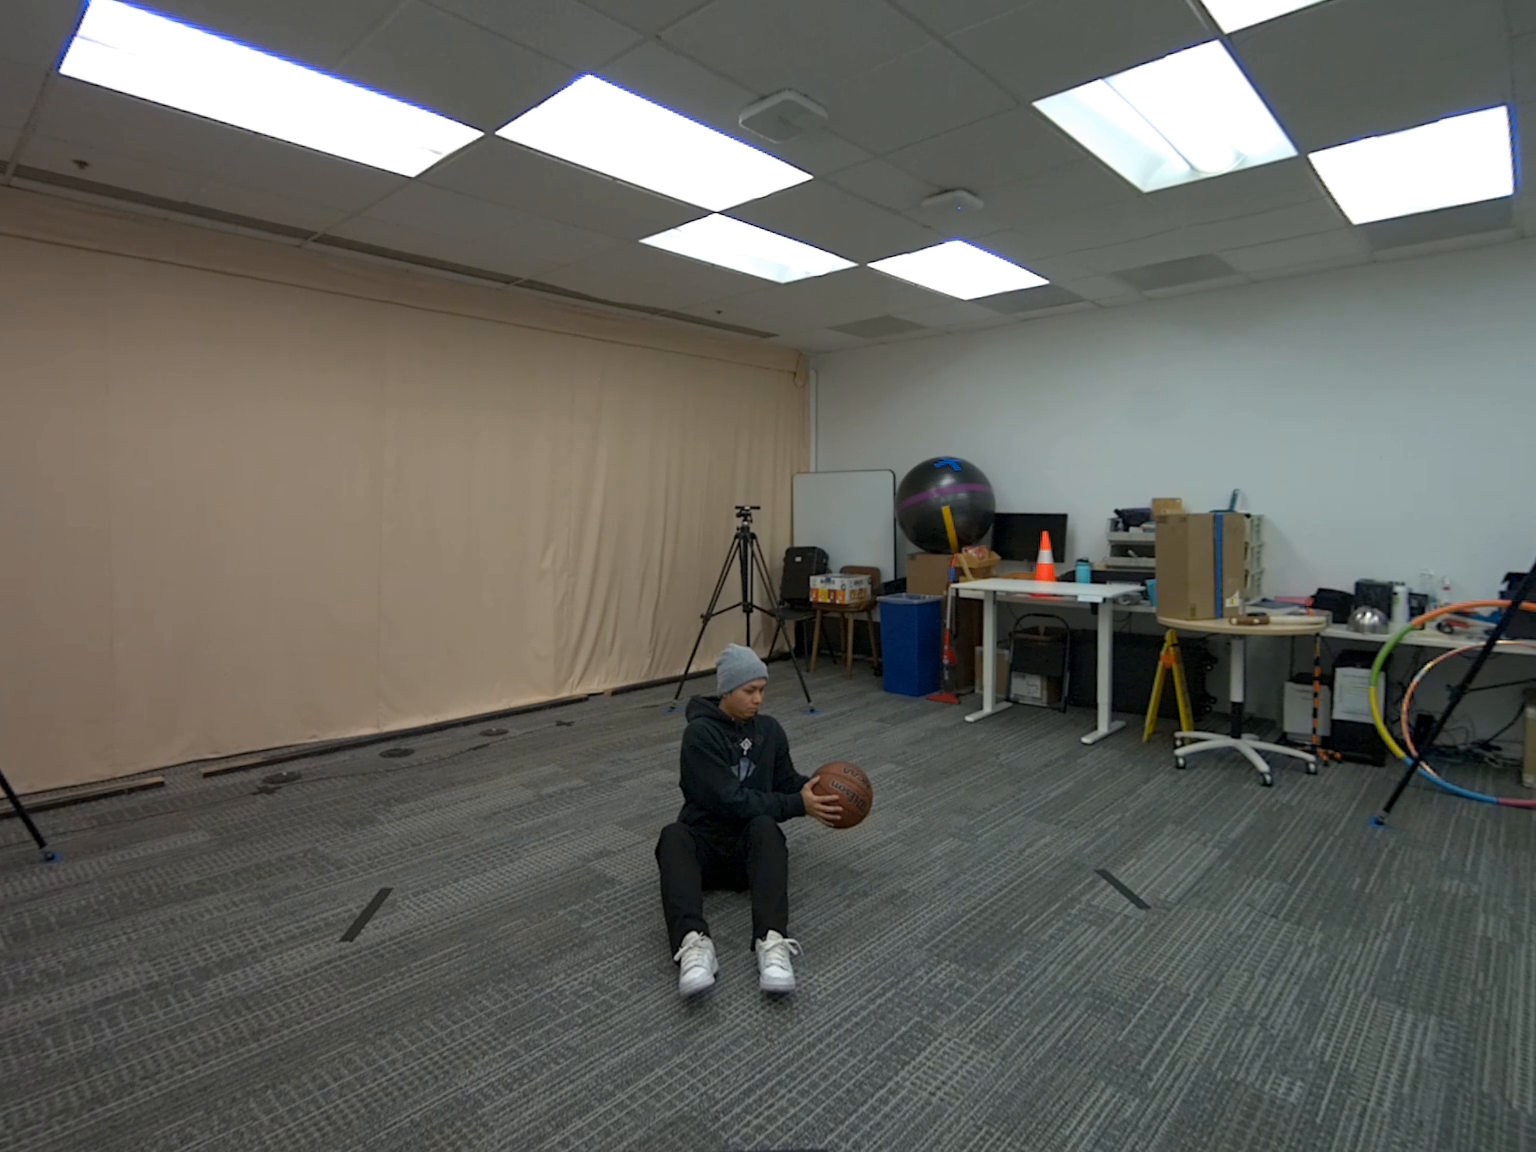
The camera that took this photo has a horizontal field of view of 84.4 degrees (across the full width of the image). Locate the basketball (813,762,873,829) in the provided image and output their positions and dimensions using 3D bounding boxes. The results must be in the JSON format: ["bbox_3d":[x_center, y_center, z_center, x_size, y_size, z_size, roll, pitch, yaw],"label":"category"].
[{"bbox_3d":[0.261,0.792,3.048,0.236,0.235,0.237,0,4,-2],"label":"basketball"}]
